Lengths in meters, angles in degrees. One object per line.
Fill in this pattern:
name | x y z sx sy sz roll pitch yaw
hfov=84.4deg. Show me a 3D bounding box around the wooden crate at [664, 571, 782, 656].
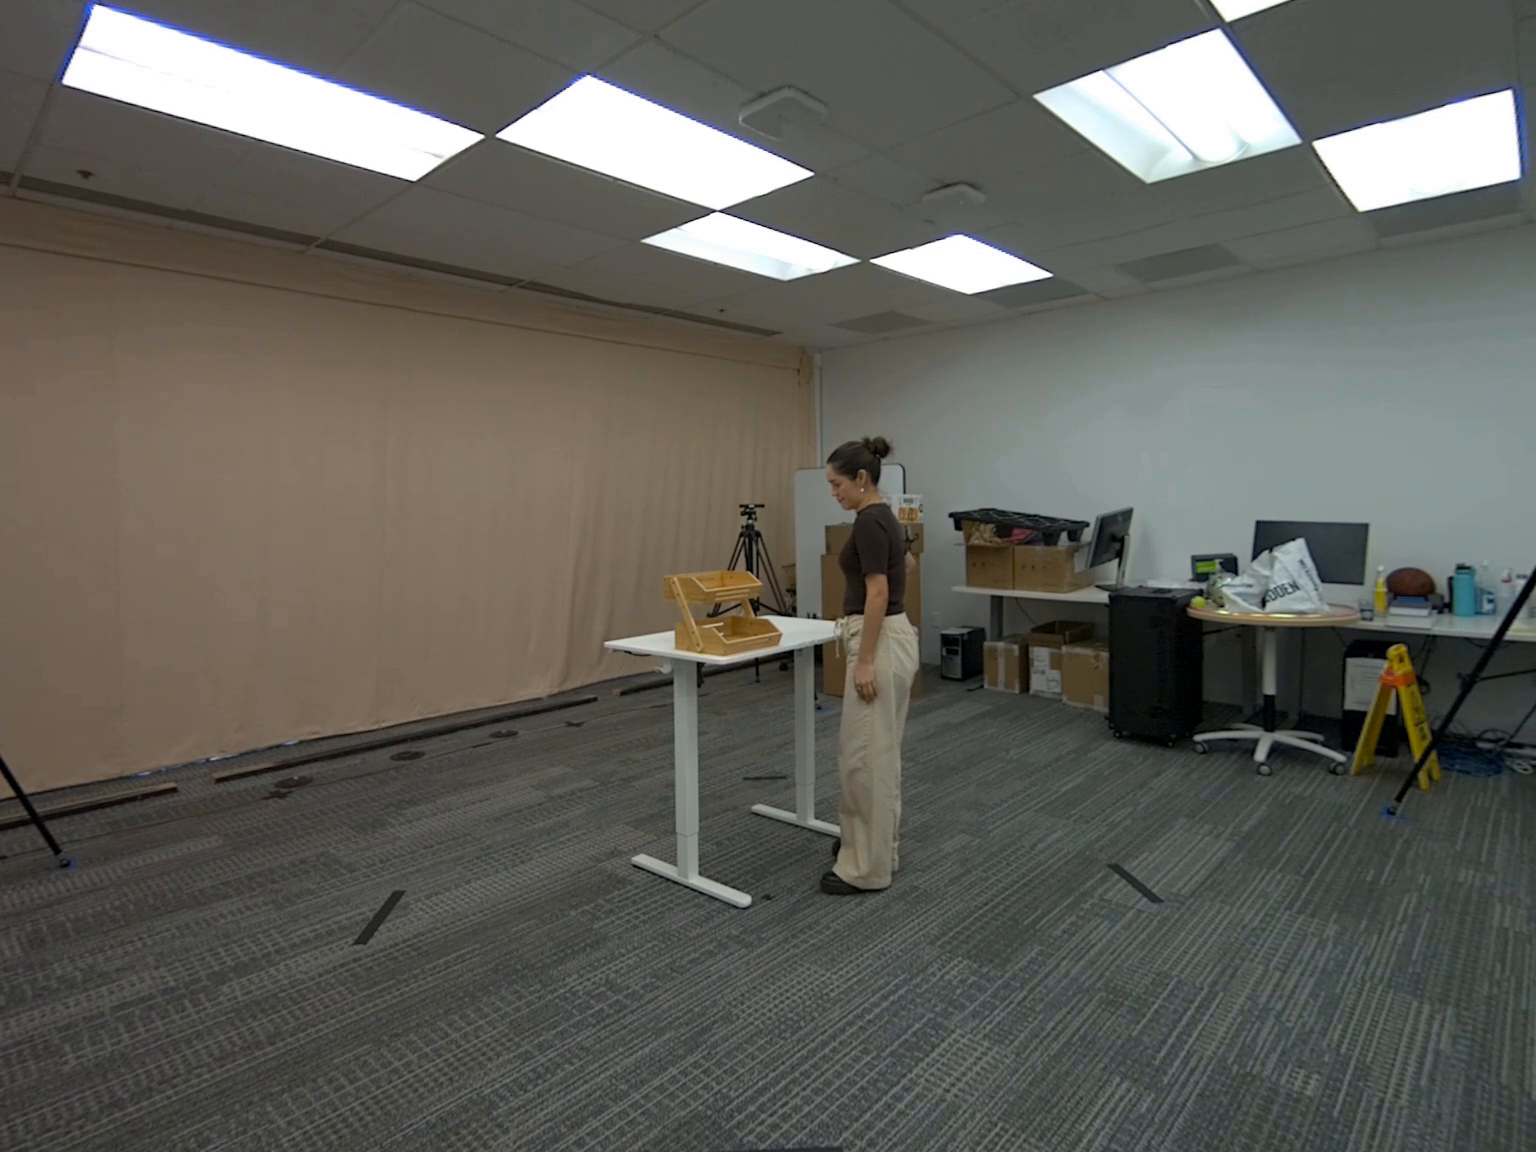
wooden crate | -0.156 0.124 3.031 0.312 0.273 0.314 1 4 42
